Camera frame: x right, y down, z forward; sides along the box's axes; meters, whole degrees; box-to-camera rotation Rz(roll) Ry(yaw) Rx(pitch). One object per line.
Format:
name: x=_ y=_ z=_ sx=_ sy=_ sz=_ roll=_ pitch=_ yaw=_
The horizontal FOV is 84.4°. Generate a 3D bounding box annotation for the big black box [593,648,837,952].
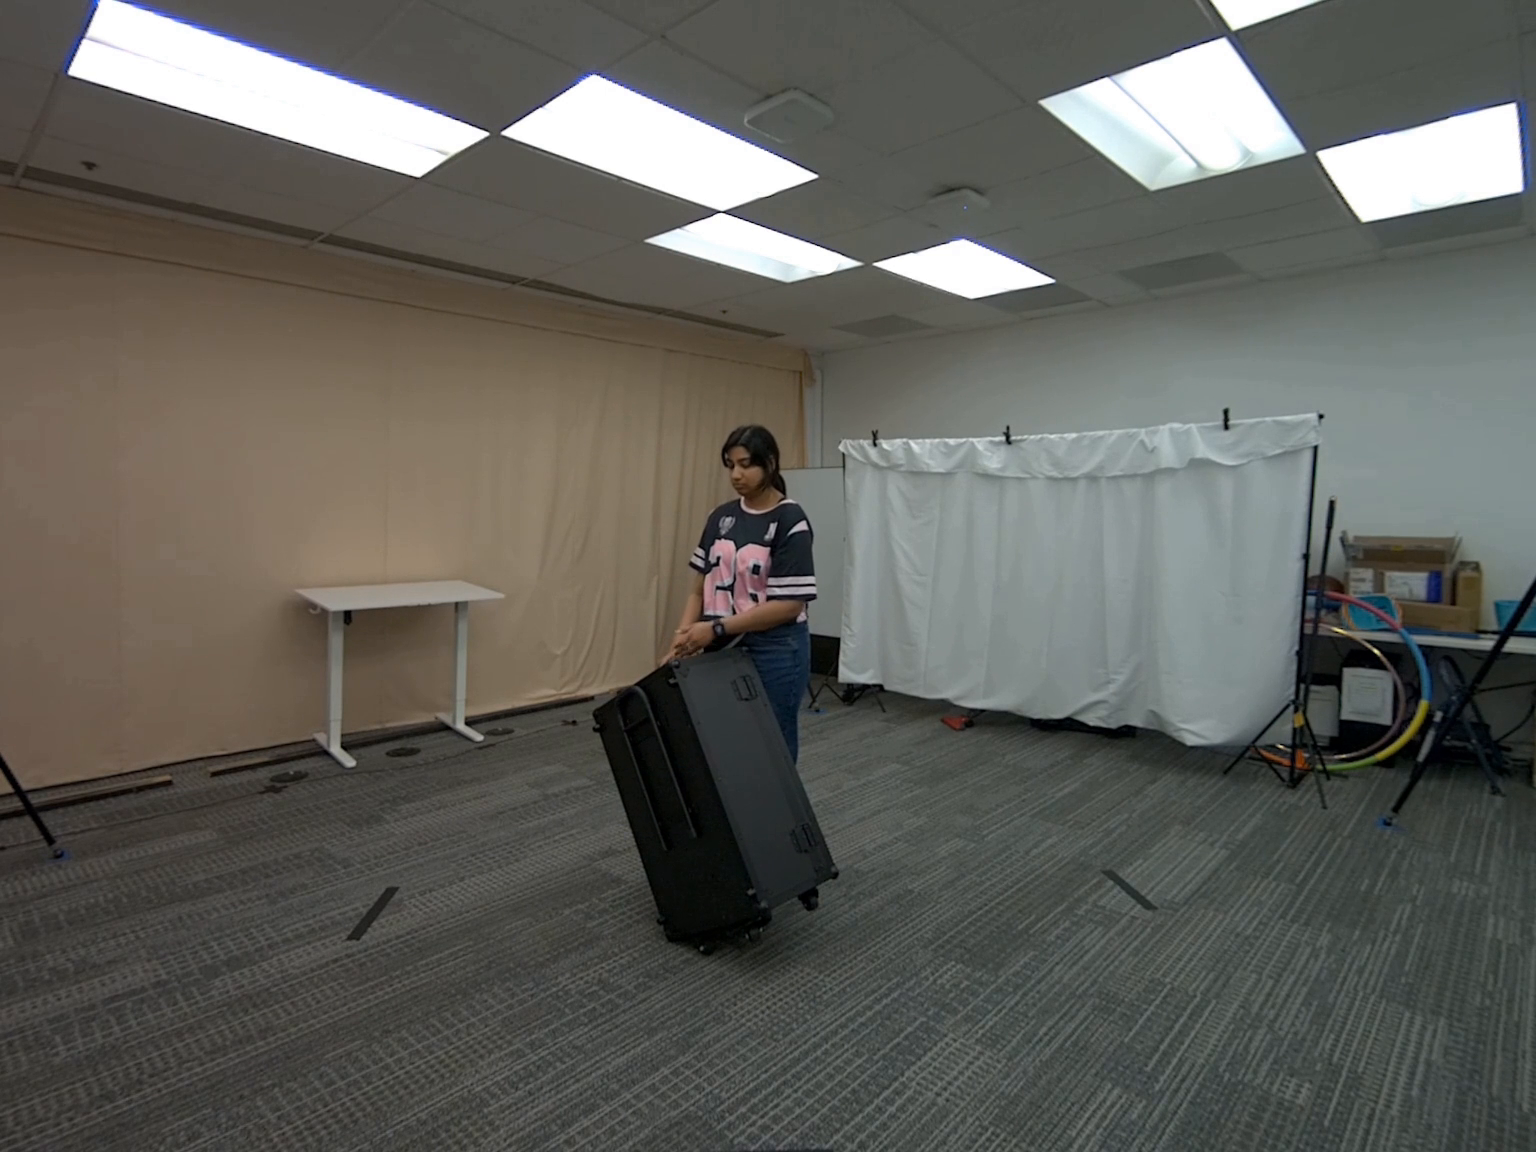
big black box: x=-0.174 y=0.735 z=2.757 sx=0.373 sy=0.883 sz=0.531 roll=-4 pitch=-25 yaw=-48
